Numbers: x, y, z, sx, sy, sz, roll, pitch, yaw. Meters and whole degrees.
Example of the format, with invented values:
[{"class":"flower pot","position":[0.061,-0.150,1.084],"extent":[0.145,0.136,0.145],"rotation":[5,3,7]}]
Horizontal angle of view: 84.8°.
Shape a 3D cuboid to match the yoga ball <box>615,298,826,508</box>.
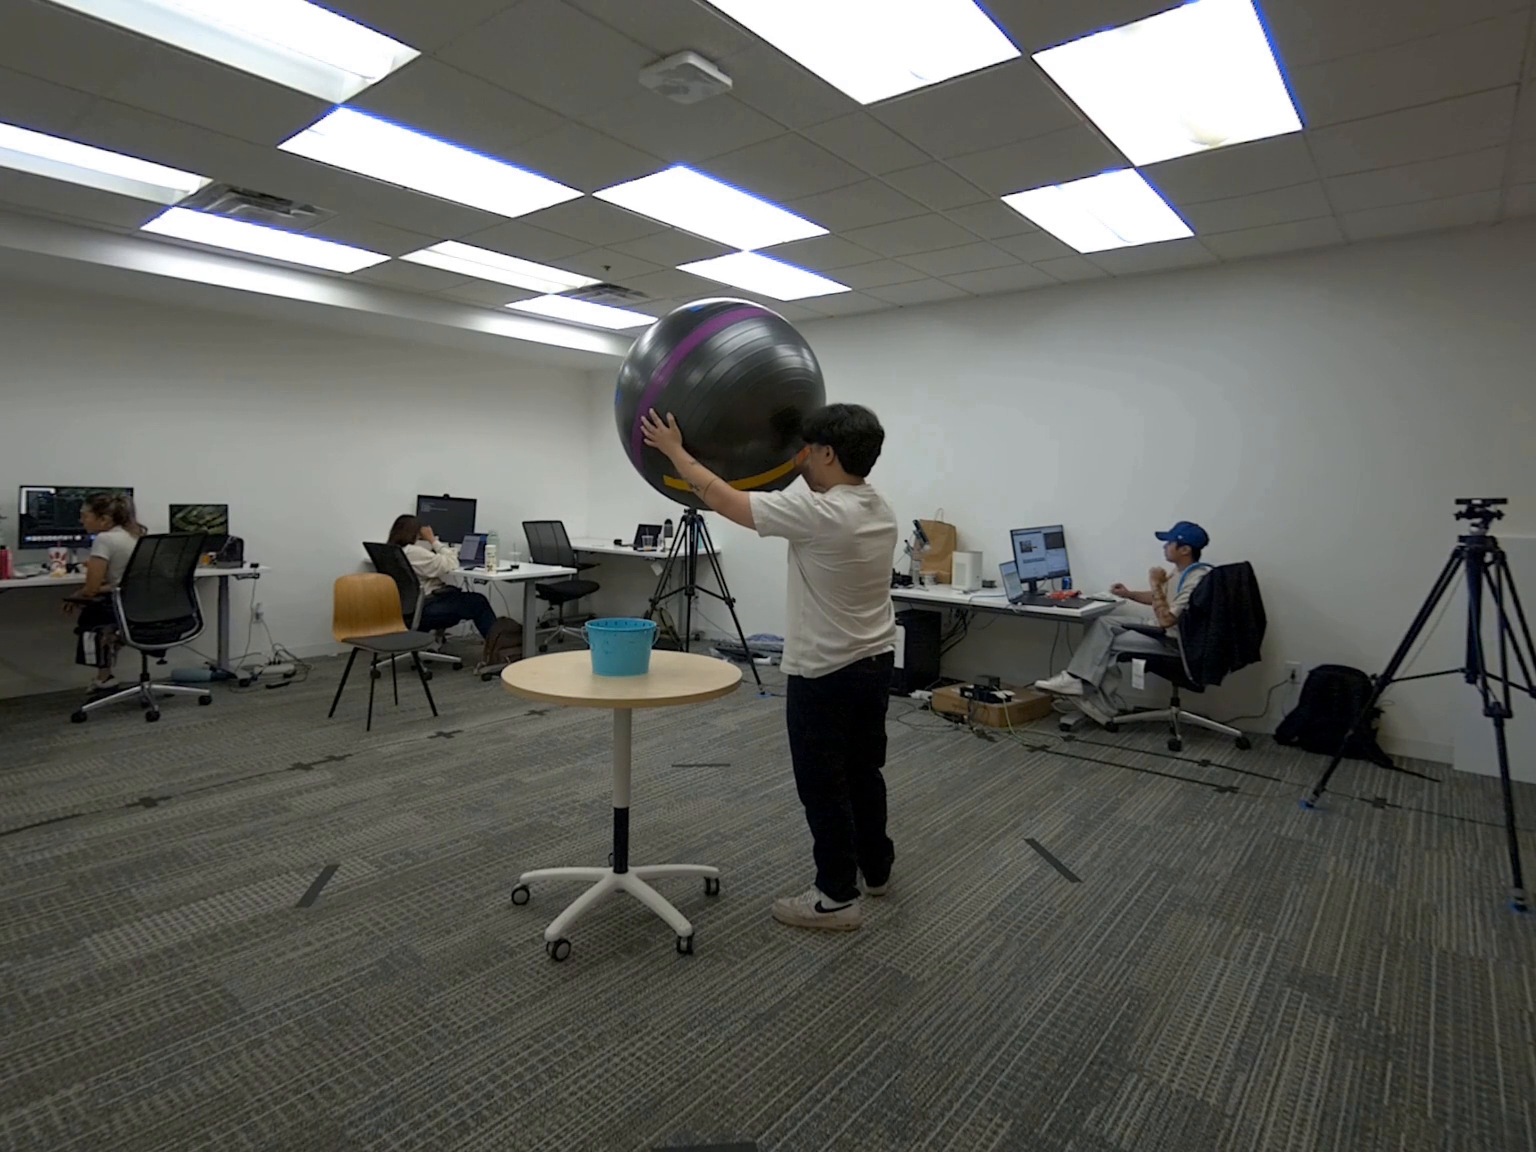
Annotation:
[{"class":"yoga ball","position":[-0.181,-0.610,3.066],"extent":[0.757,0.755,0.762],"rotation":[1,4,-2]}]
